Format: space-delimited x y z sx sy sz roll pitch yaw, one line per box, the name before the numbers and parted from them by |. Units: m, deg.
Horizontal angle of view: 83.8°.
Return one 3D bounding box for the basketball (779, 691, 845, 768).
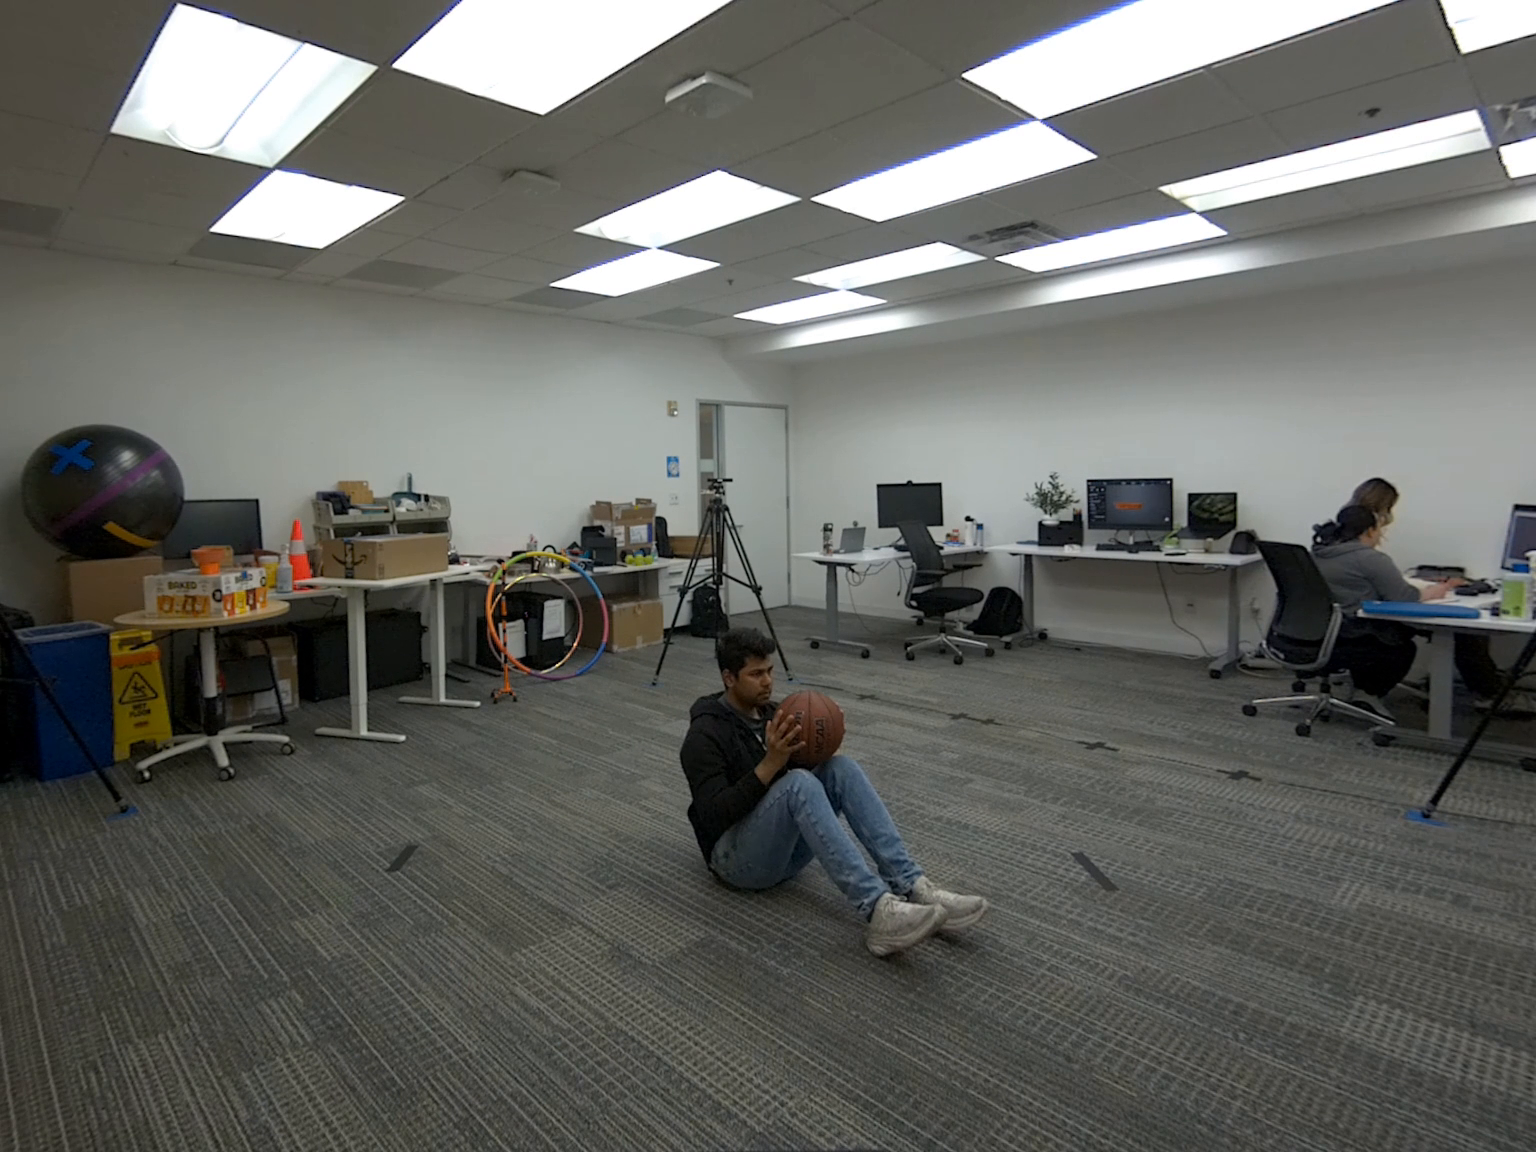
basketball | 0.127 0.494 2.825 0.236 0.235 0.237 -1 5 -2
